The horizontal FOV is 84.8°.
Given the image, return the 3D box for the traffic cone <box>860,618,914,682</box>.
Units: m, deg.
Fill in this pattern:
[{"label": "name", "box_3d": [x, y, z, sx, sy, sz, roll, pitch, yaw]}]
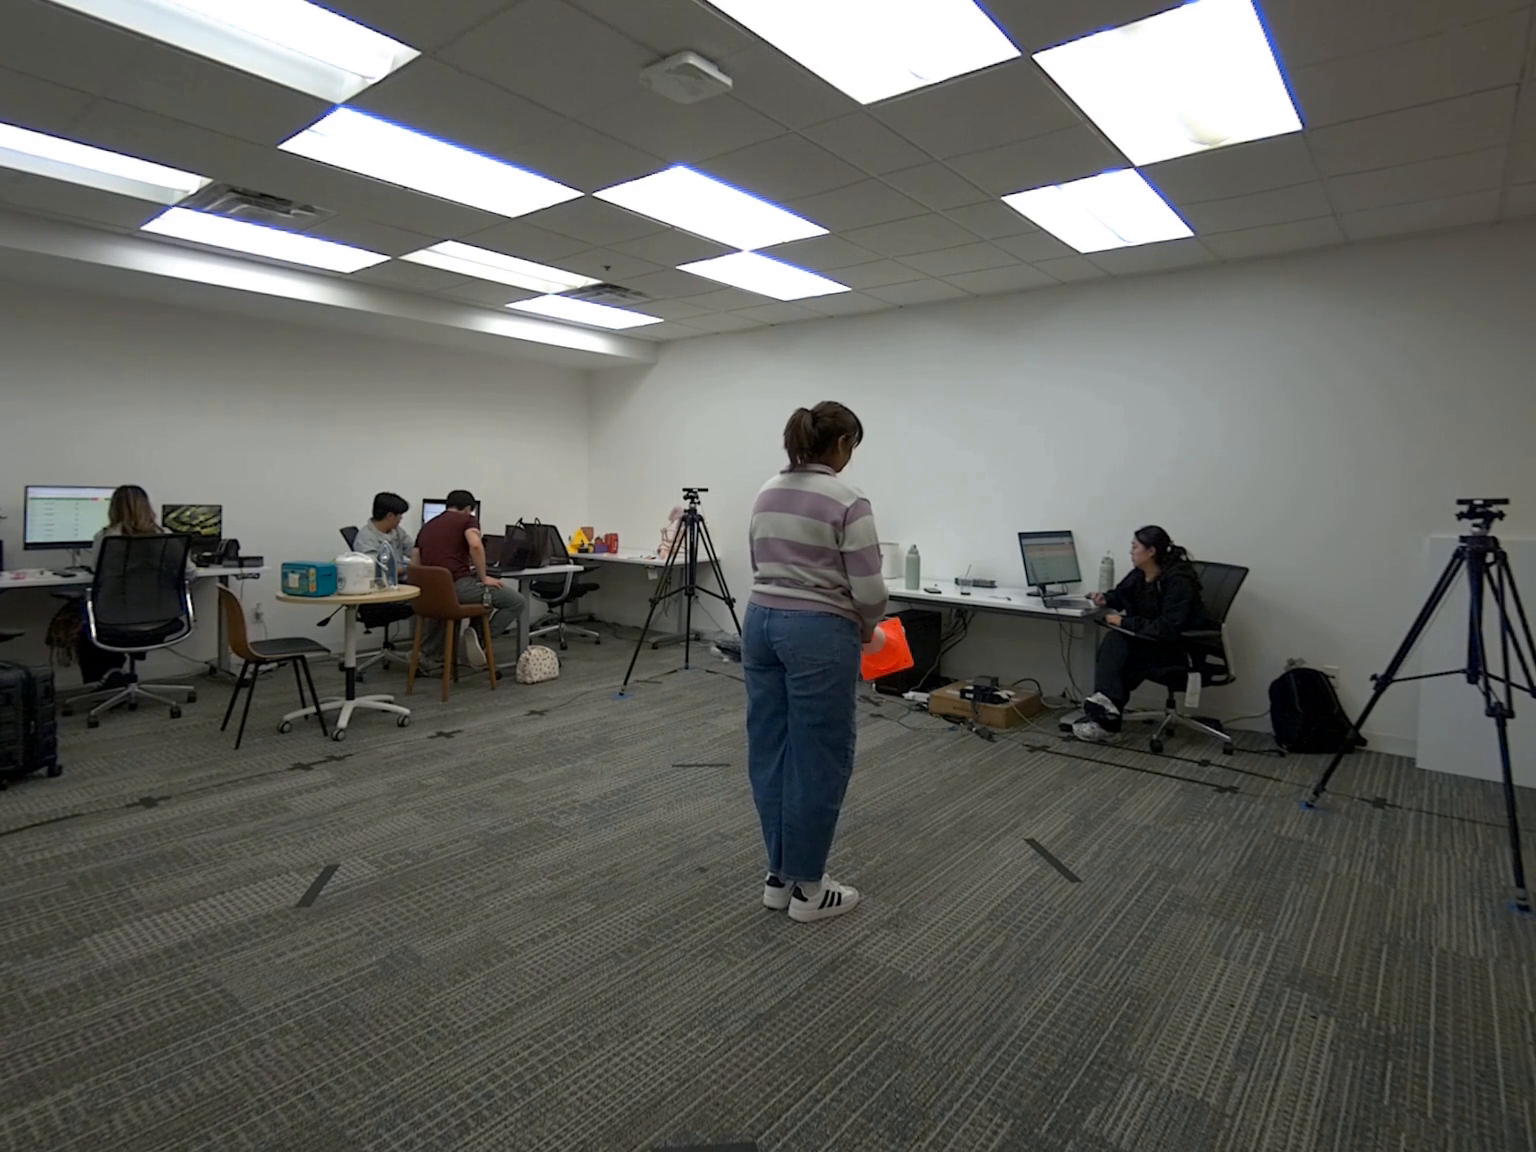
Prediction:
[{"label": "traffic cone", "box_3d": [0.359, 0.215, 3.079, 0.207, 0.209, 0.369, -20, -24, 17]}]
